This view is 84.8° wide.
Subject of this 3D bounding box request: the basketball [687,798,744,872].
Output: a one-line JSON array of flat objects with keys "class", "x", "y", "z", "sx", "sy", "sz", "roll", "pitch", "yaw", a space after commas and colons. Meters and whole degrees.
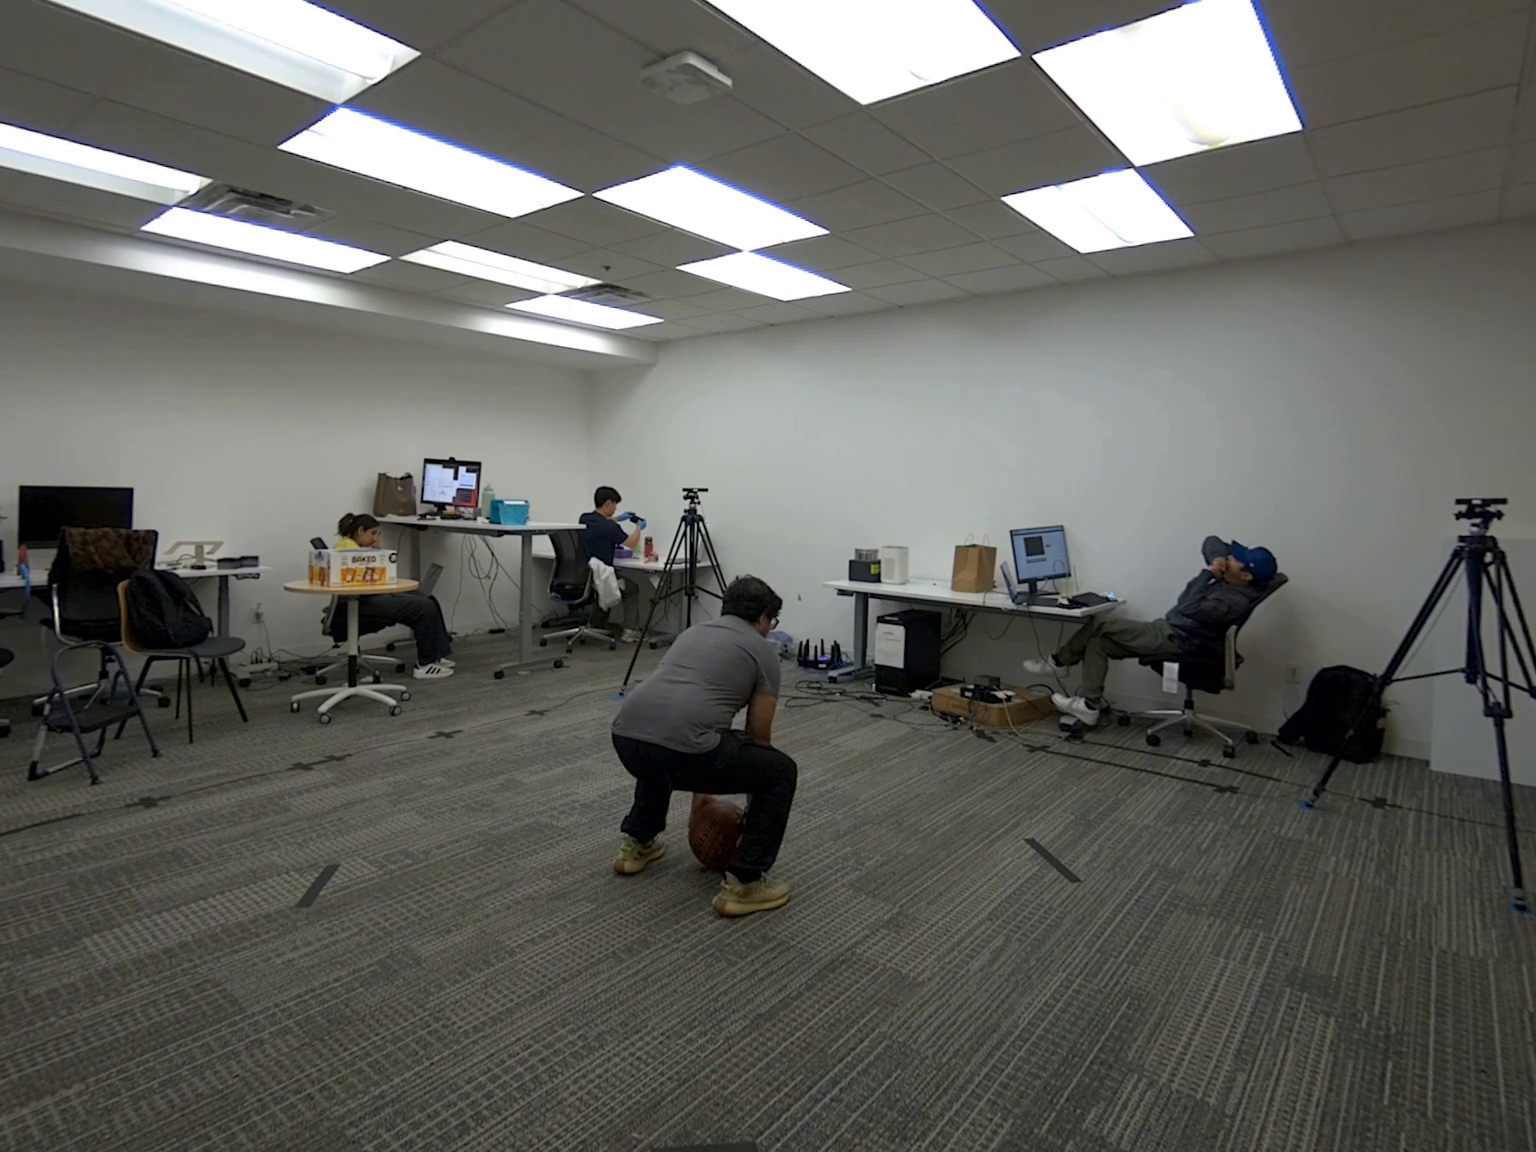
[{"class": "basketball", "x": -0.181, "y": 0.946, "z": 3.126, "sx": 0.235, "sy": 0.235, "sz": 0.237, "roll": 1, "pitch": 4, "yaw": -2}]
